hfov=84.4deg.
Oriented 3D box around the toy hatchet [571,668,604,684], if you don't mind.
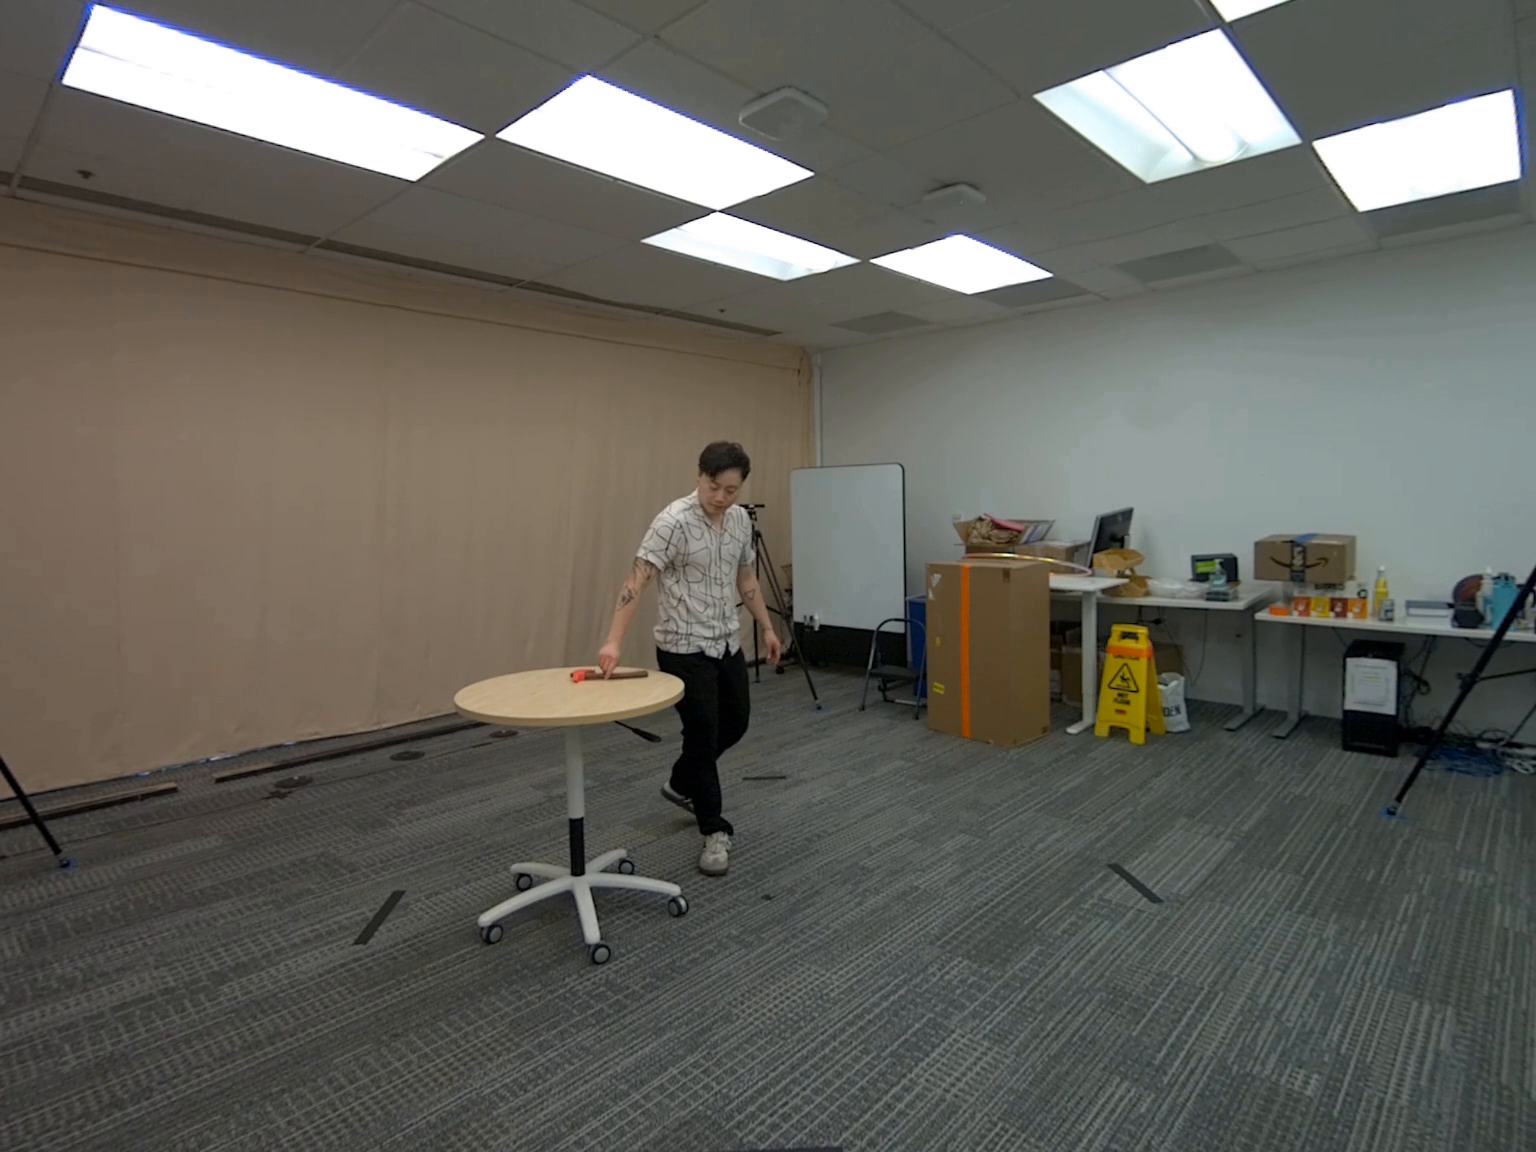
[{"bbox_3d":[-0.583,0.356,3.024,0.265,0.029,0.134,-2,6,-17],"label":"toy hatchet"}]
